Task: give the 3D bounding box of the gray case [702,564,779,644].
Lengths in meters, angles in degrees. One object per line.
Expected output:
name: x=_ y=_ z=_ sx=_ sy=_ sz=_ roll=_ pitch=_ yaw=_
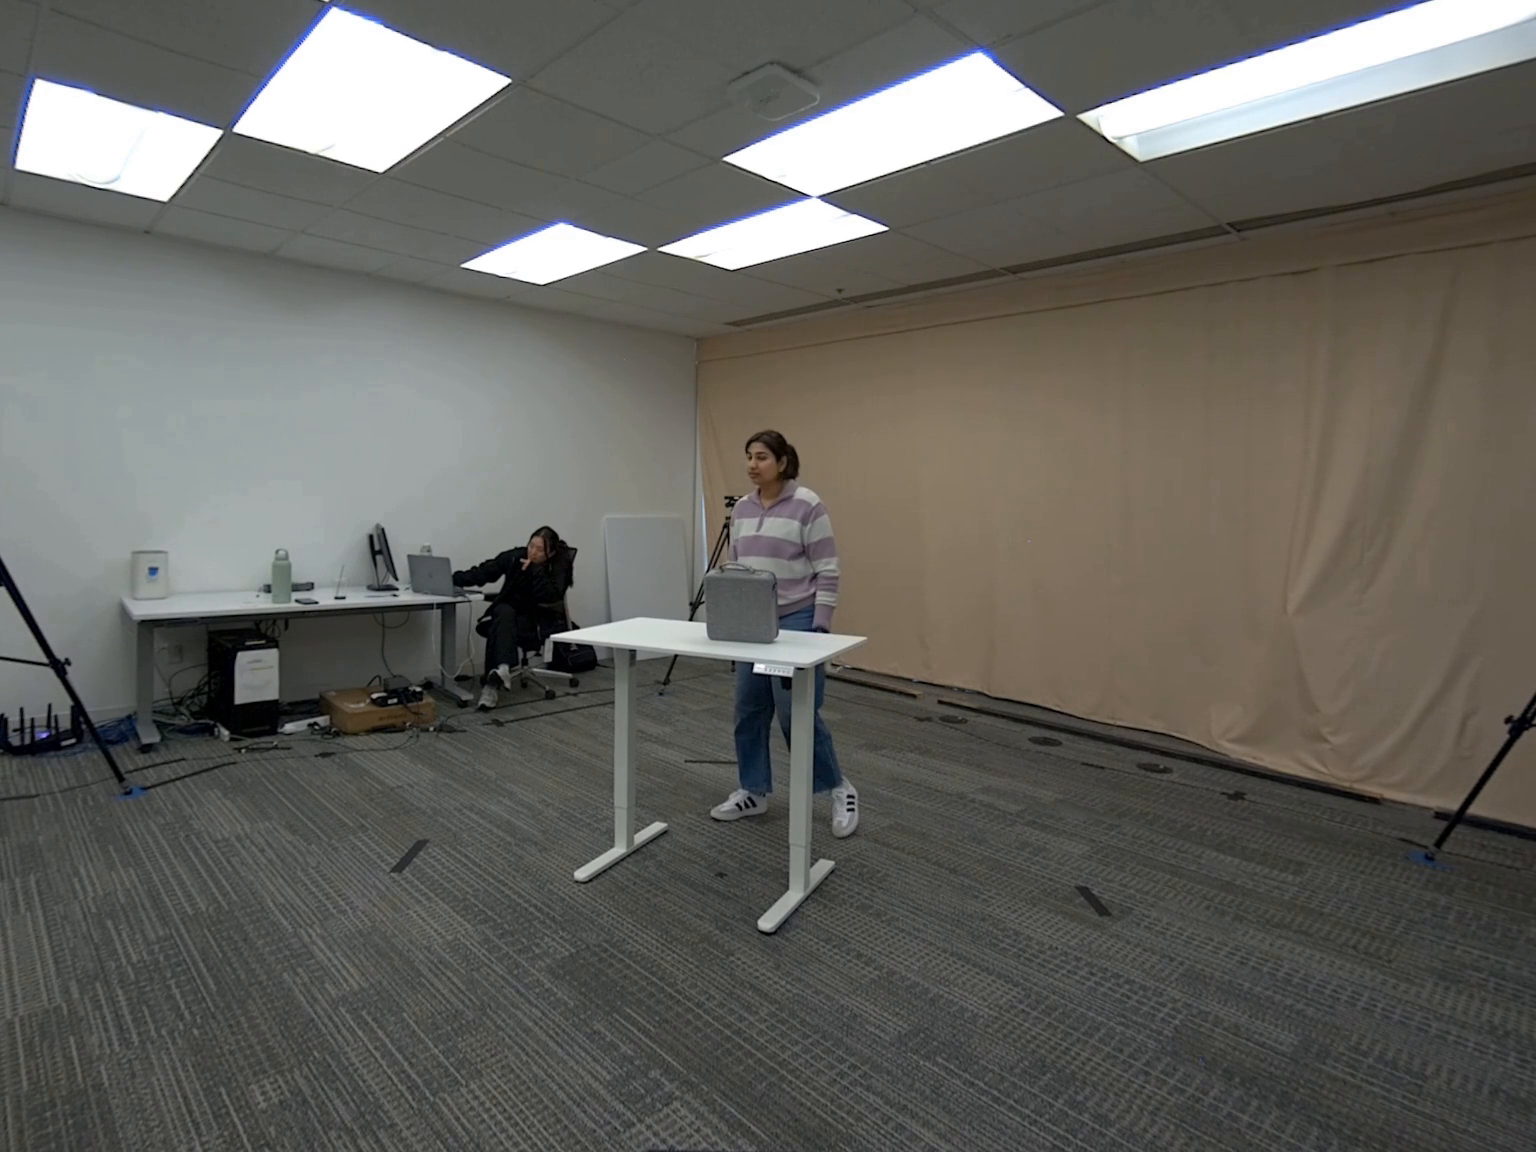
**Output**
gray case: x=-0.102 y=0.104 z=2.968 sx=0.260 sy=0.258 sz=0.104 roll=1 pitch=13 yaw=18
